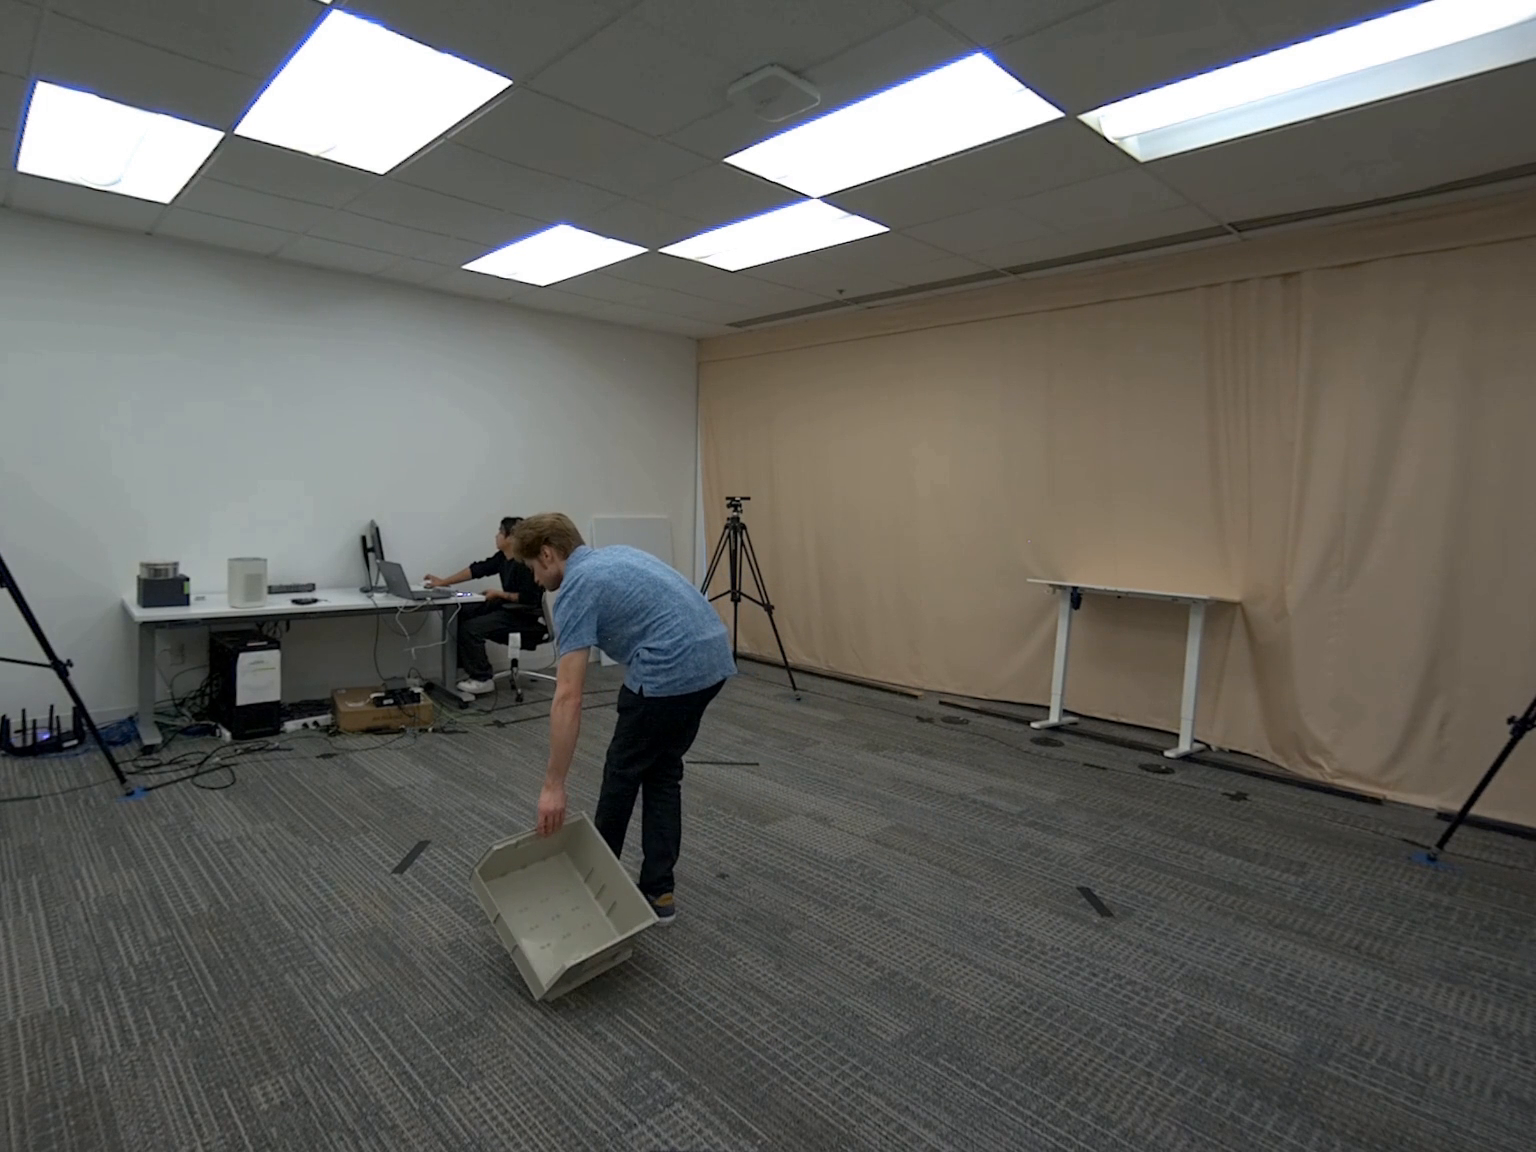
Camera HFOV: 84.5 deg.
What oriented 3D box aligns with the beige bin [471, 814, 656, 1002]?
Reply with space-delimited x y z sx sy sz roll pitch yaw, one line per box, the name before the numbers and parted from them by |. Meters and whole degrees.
beige bin | -0.616 0.967 2.468 0.434 0.188 0.369 42 26 28
